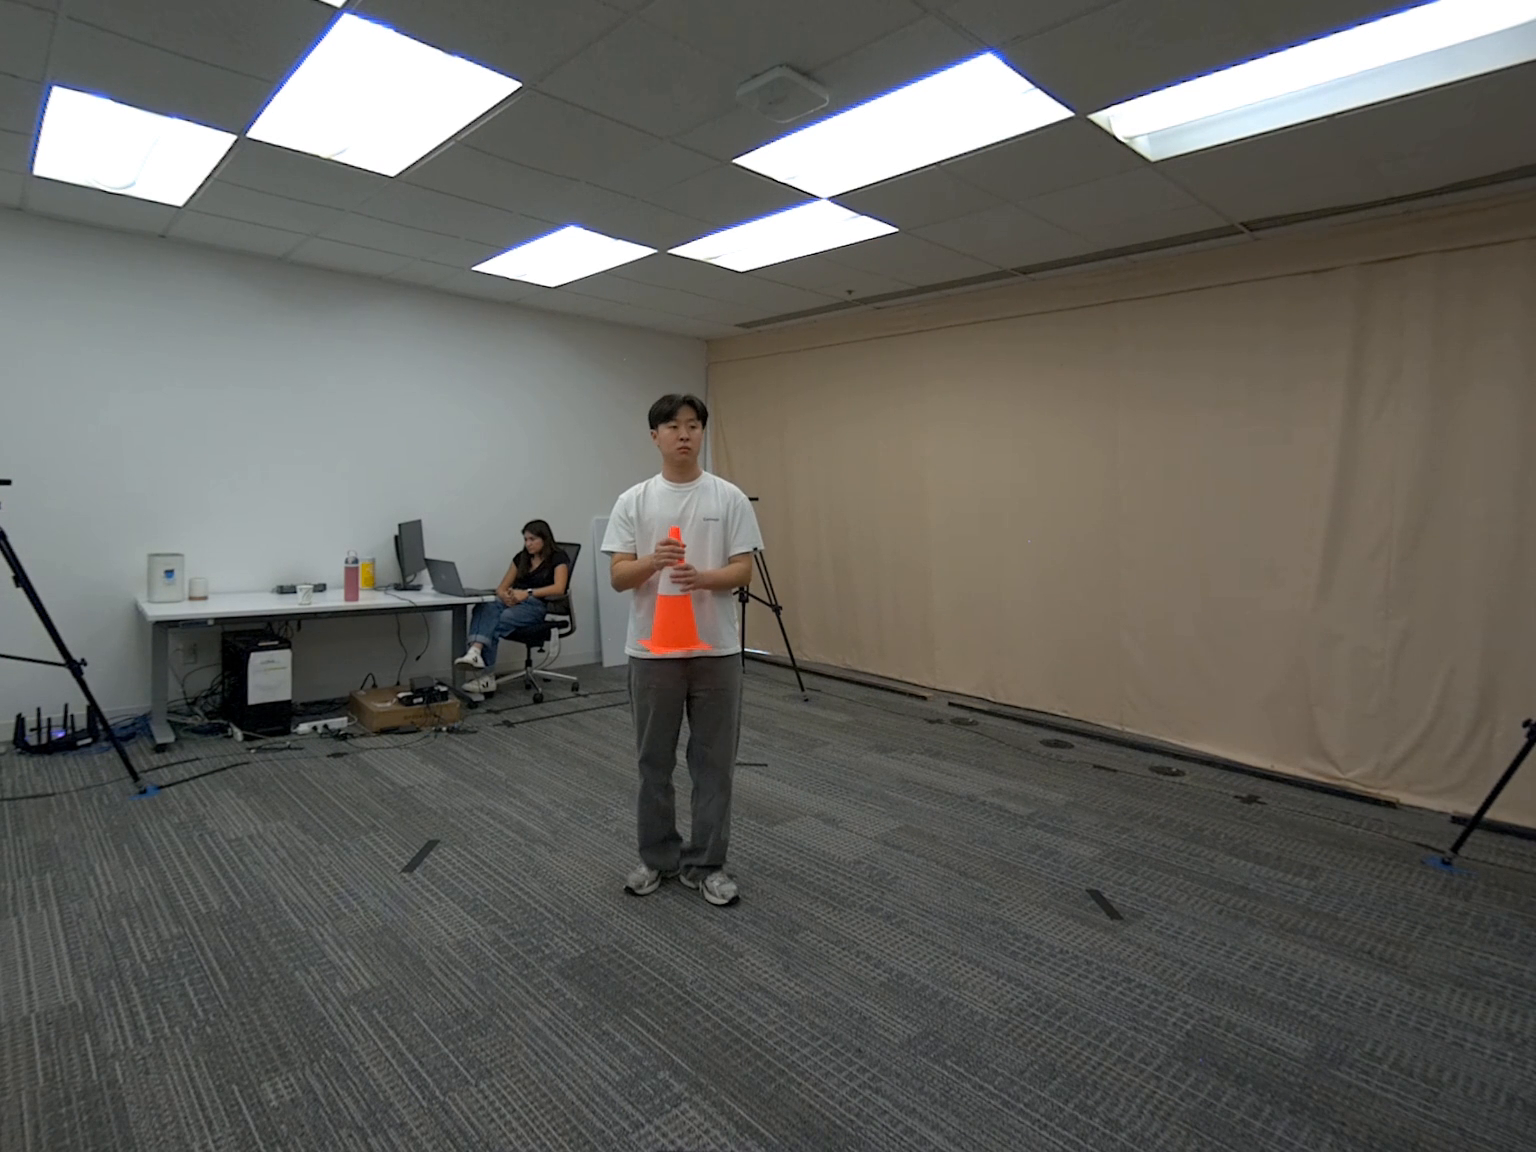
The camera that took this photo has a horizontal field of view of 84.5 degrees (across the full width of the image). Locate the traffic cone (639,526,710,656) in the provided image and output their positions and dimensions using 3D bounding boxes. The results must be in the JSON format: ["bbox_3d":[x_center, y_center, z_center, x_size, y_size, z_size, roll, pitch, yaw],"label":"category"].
[{"bbox_3d":[-0.322,0.039,2.685,0.202,0.382,0.207,-4,6,-19],"label":"traffic cone"}]
